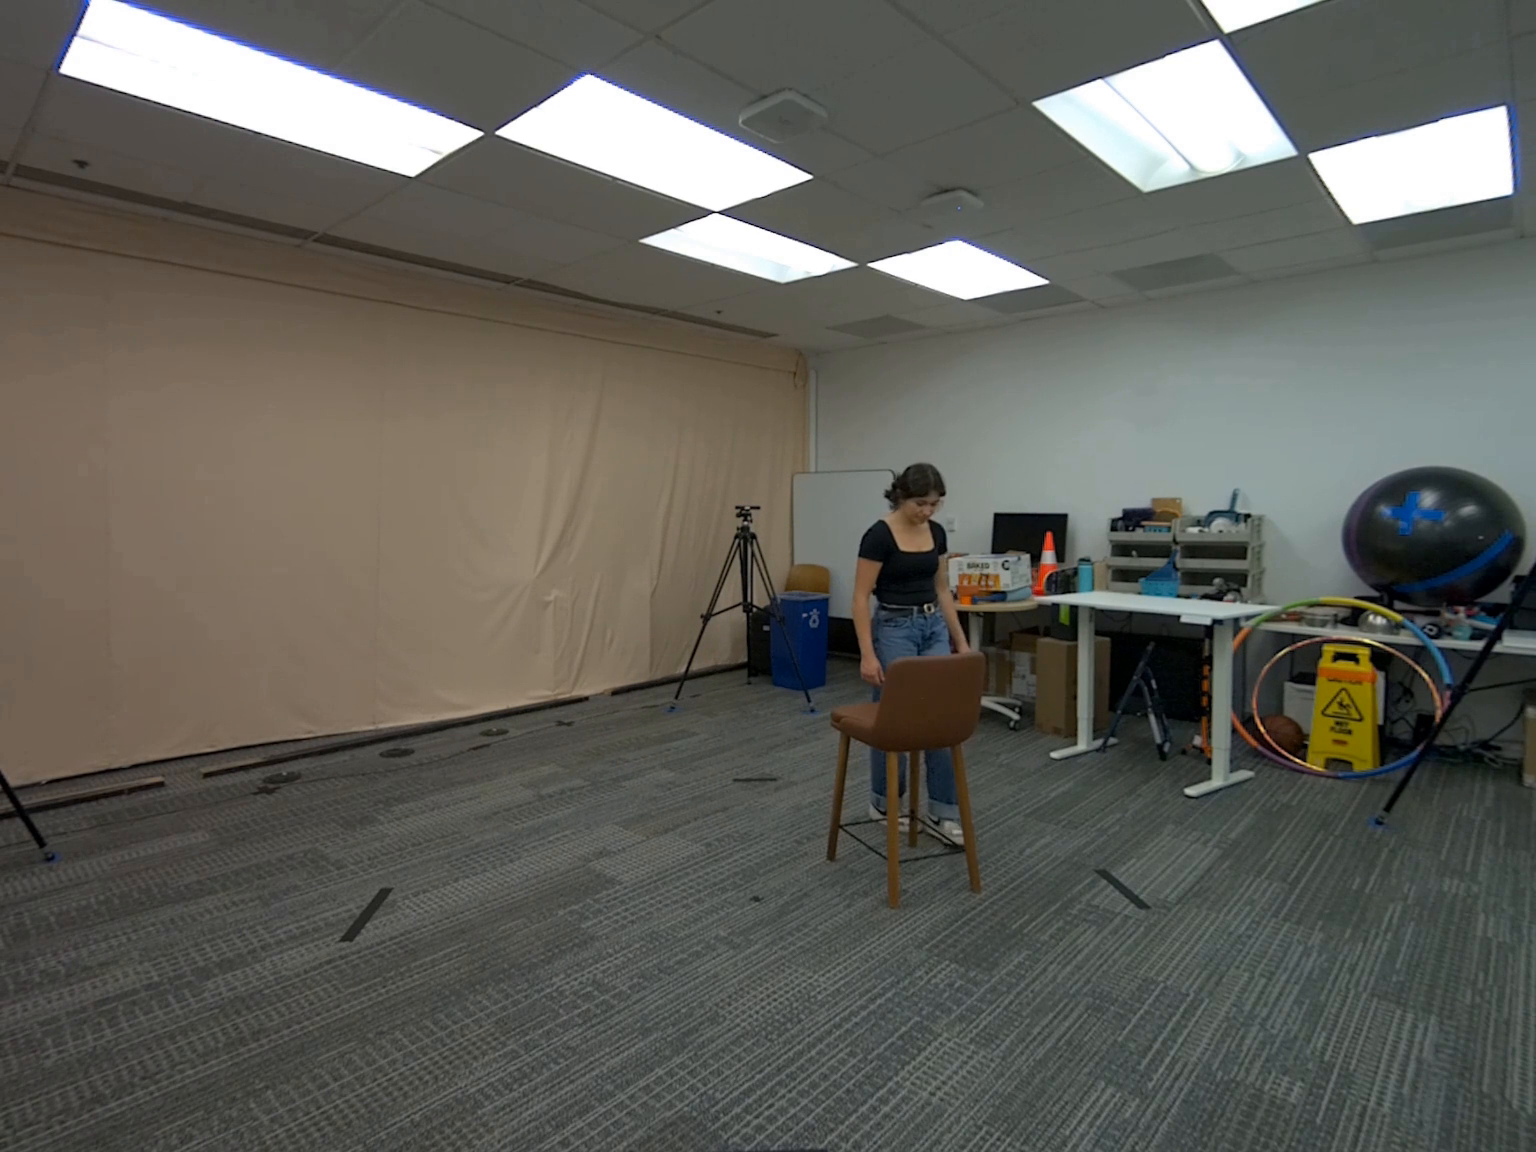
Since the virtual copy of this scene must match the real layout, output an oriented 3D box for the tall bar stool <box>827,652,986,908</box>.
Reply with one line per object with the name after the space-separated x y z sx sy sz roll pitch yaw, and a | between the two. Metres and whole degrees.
0.514 0.693 3.152 0.446 0.887 0.479 -1 5 -23 | tall bar stool
